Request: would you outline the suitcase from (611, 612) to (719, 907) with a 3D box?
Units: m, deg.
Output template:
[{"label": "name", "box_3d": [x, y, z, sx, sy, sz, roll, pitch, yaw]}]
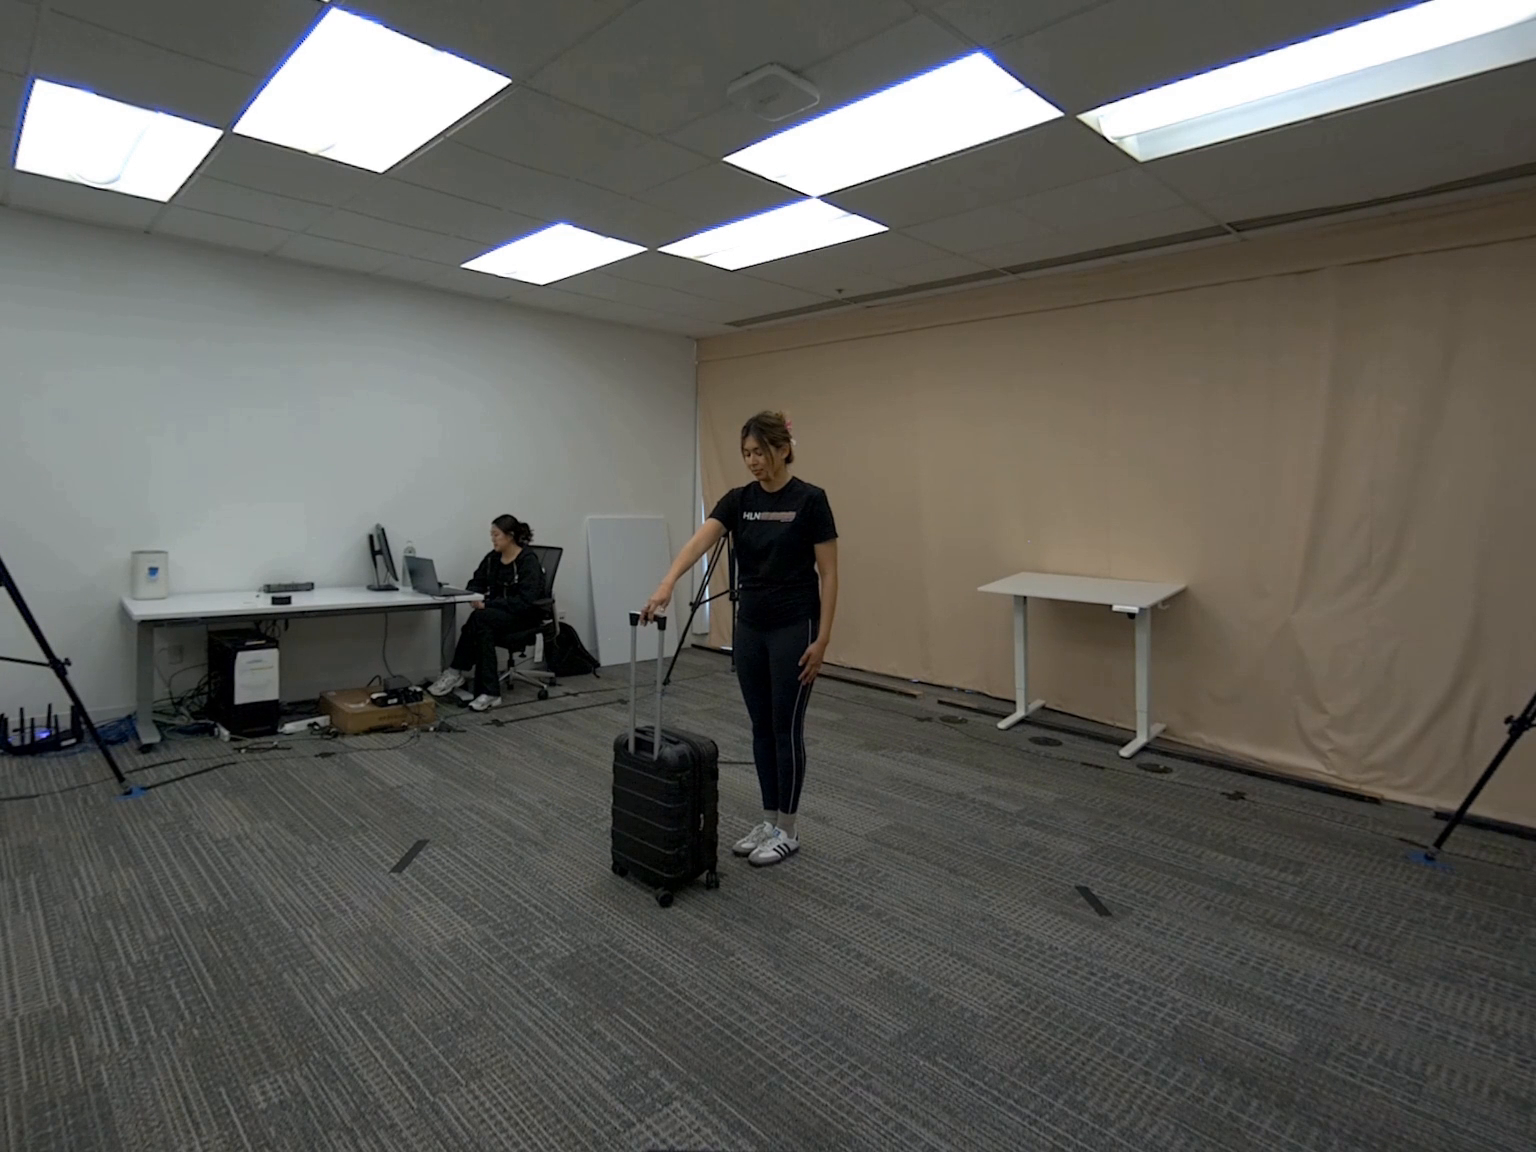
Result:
[{"label": "suitcase", "box_3d": [-0.373, 0.625, 3.023, 0.394, 0.976, 0.251, 5, 4, 42]}]
